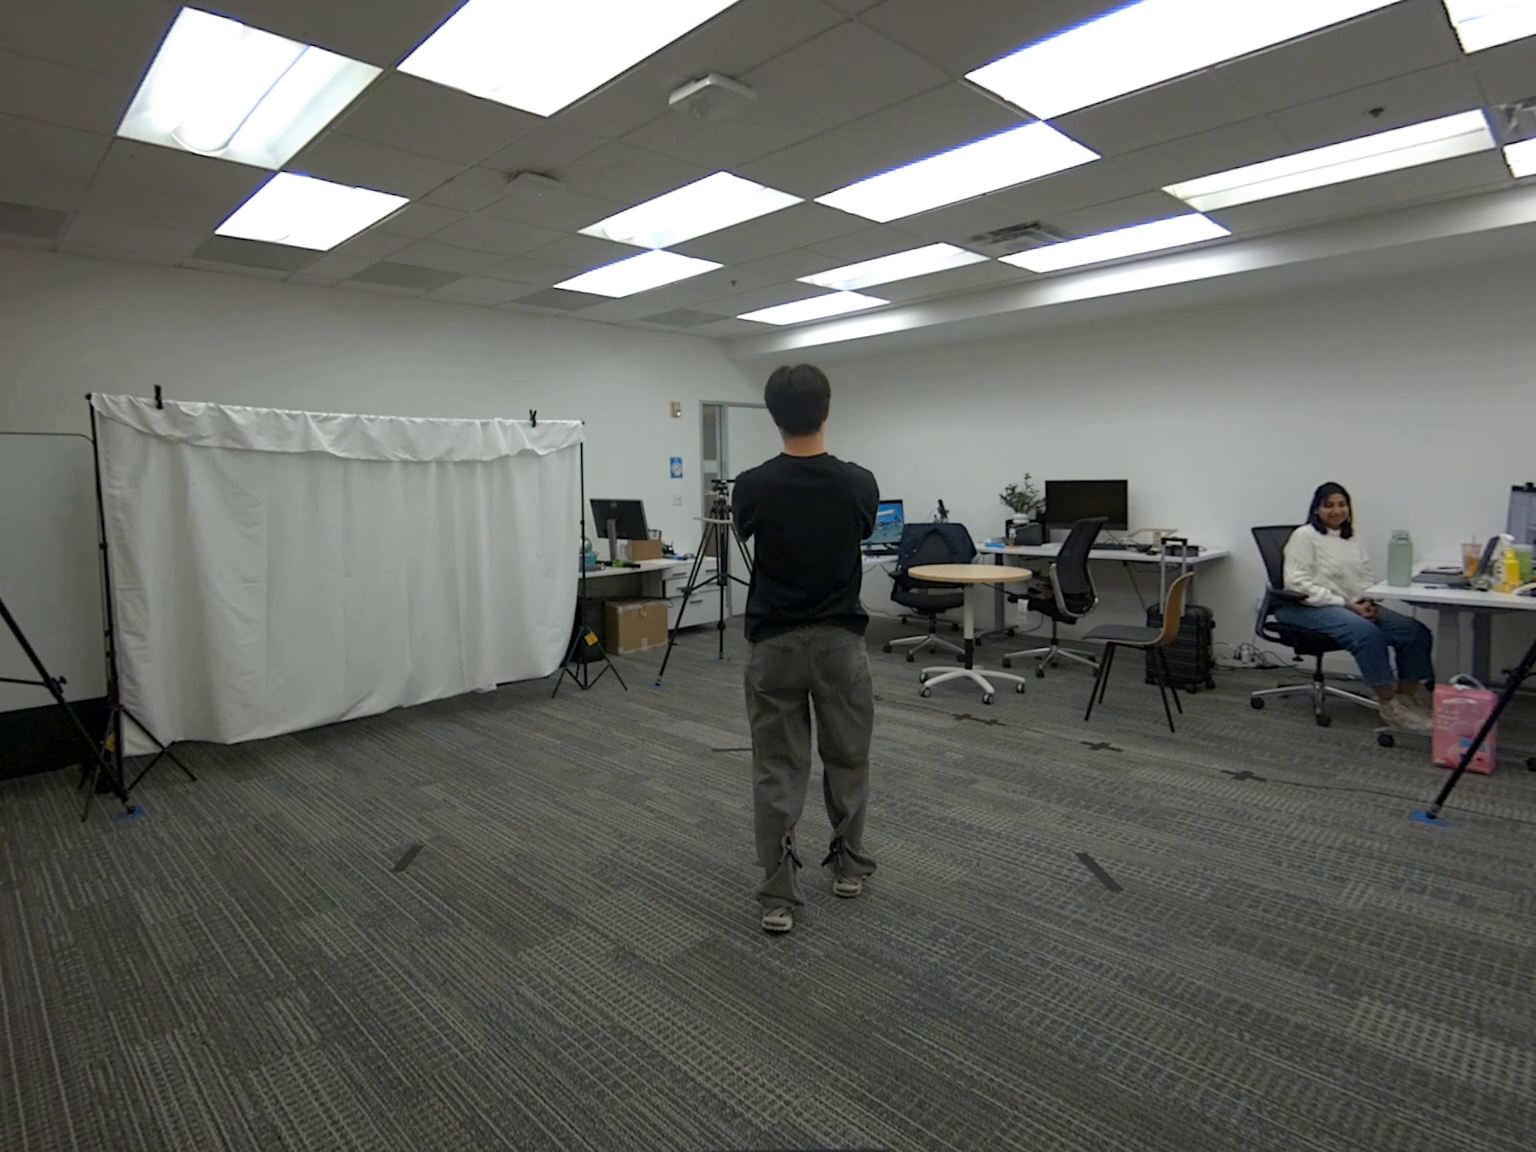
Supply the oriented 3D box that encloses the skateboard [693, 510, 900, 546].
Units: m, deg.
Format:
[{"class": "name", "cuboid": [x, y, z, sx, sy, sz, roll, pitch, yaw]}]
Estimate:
[{"class": "skateboard", "cuboid": [0.103, -0.193, 3.377, 0.787, 0.110, 0.193, -2, 3, 2]}]
